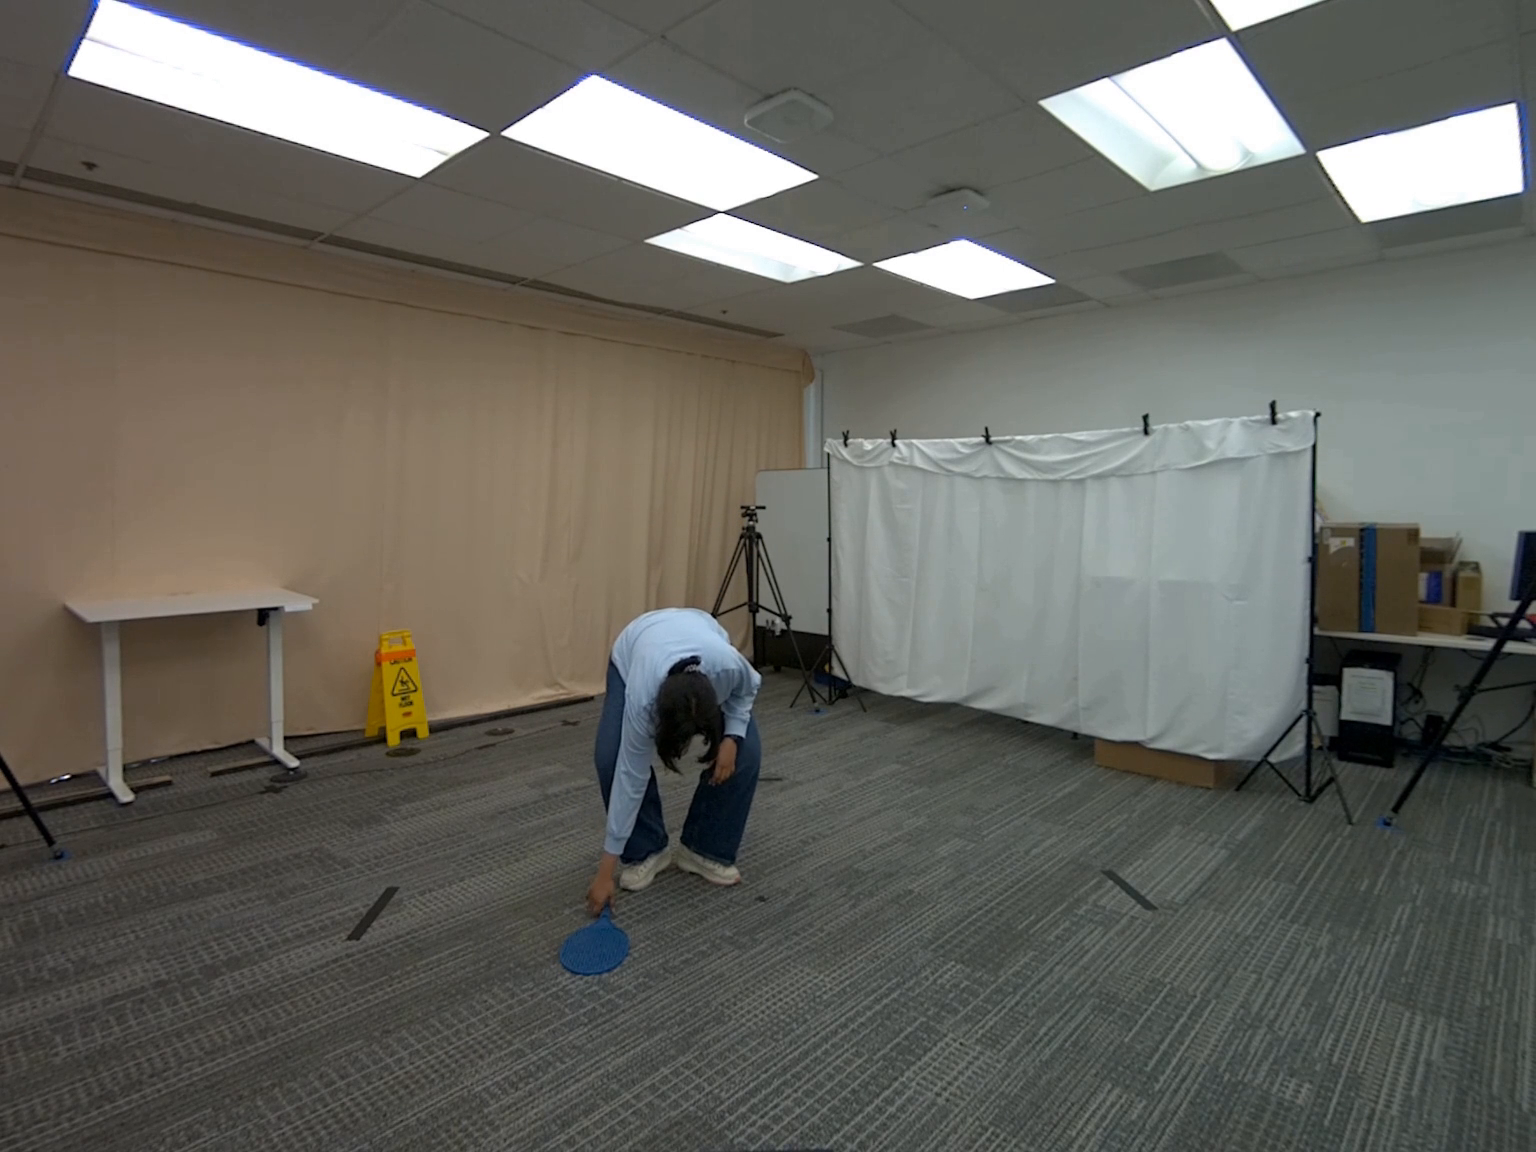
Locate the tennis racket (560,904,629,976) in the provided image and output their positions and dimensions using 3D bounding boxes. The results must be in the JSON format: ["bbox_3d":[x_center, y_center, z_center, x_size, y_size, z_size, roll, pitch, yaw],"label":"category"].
[{"bbox_3d":[-0.539,1.144,2.713,0.213,0.031,0.436,-1,7,-3],"label":"tennis racket"}]
